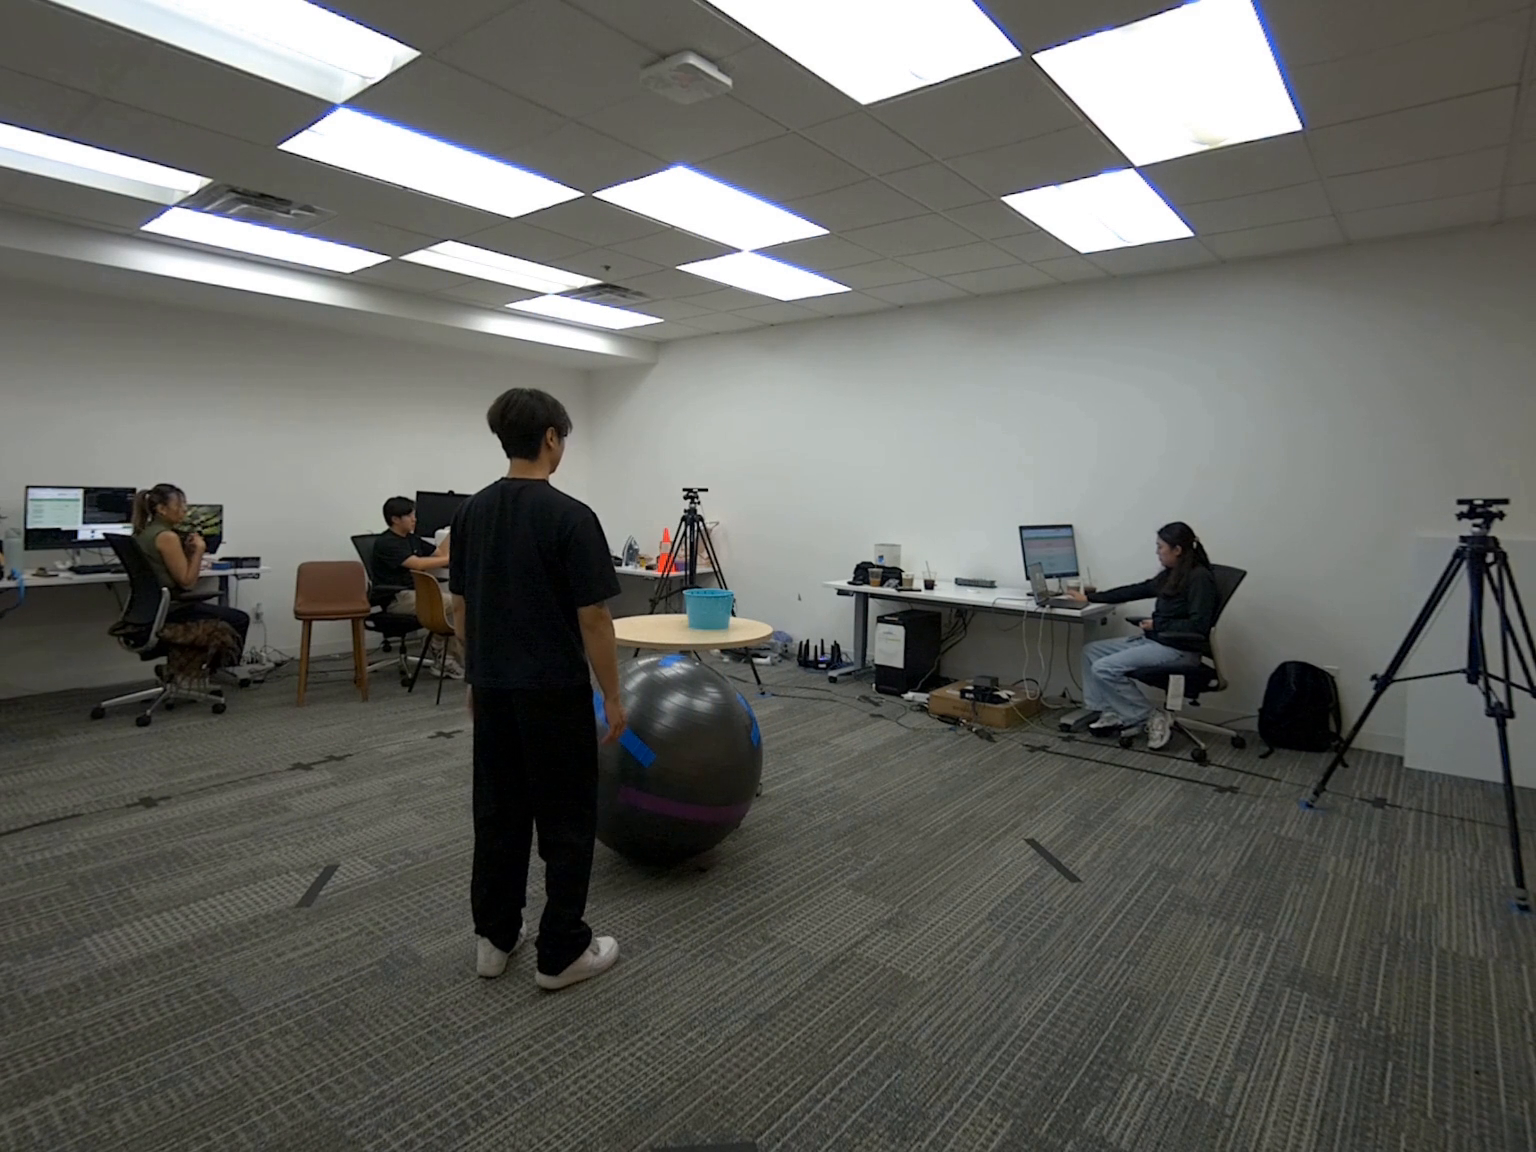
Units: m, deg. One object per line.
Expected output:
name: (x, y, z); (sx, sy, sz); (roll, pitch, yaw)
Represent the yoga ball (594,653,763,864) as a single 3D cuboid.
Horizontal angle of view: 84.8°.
yoga ball: (-0.406, 0.687, 3.228); (0.757, 0.755, 0.762); (1, 4, -2)
